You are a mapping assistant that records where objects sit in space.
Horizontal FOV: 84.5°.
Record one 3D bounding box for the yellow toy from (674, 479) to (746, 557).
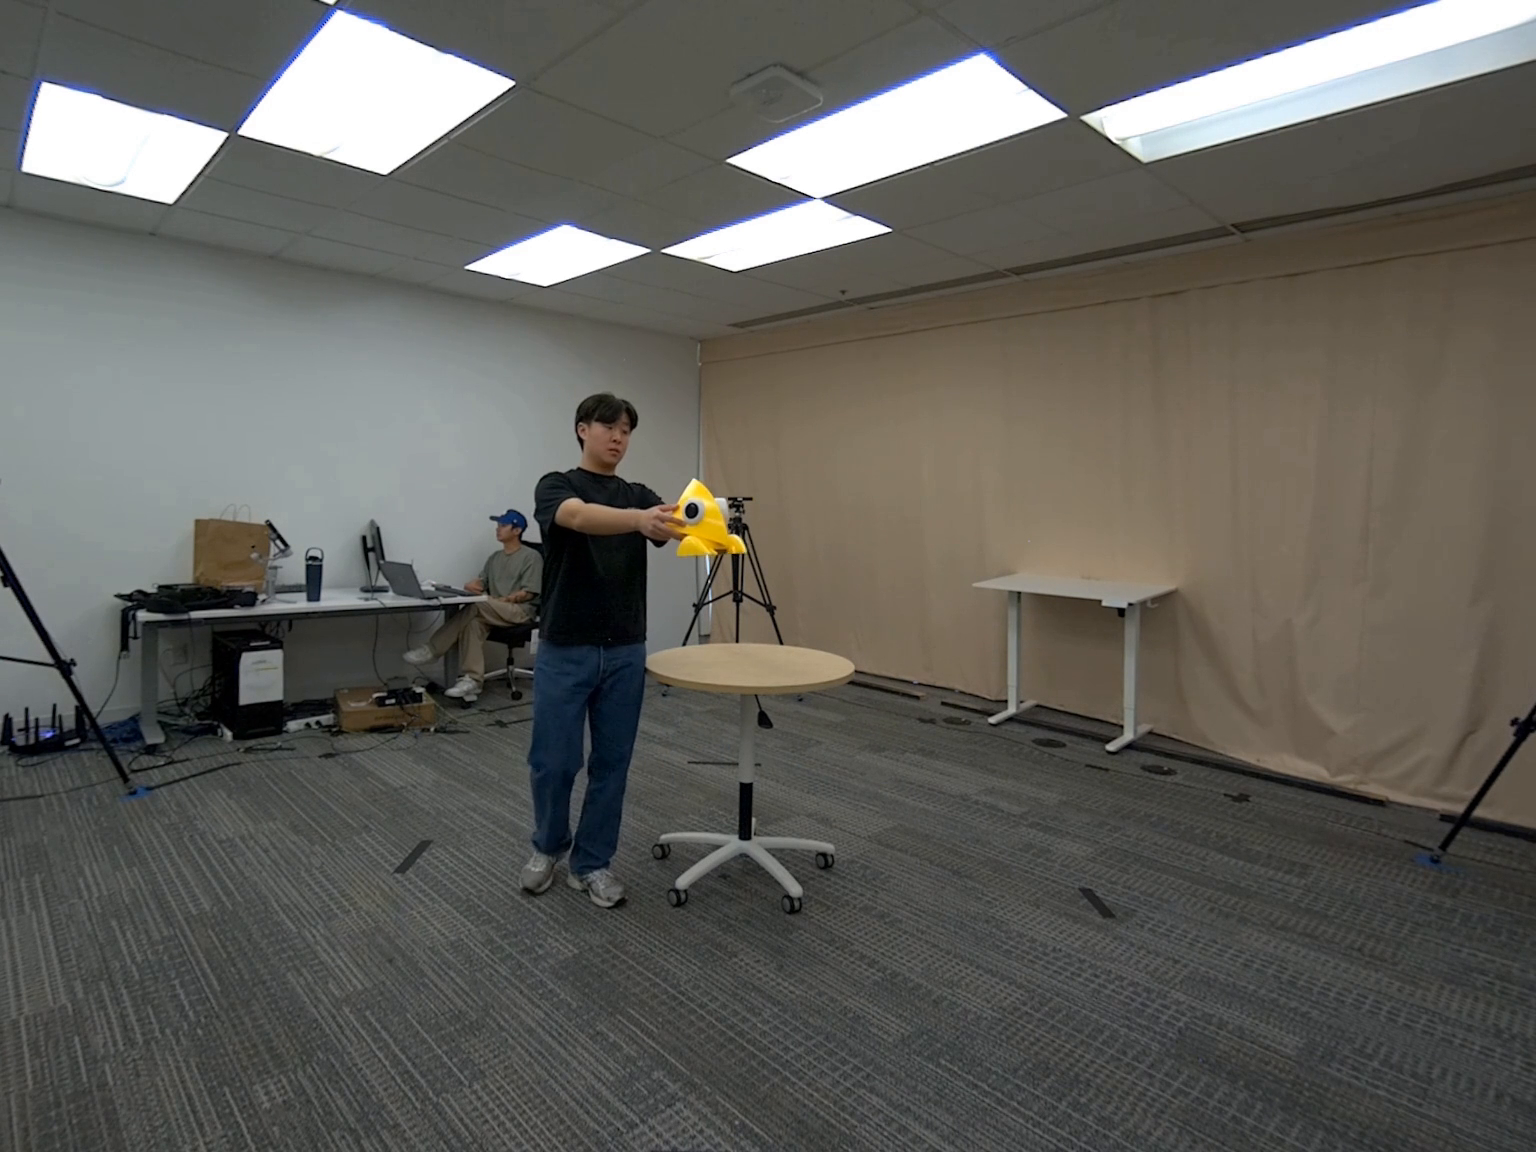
[{"bbox_3d":[-0.184,-0.177,2.465,0.200,0.231,0.197,-2,-1,-37],"label":"yellow toy"}]
